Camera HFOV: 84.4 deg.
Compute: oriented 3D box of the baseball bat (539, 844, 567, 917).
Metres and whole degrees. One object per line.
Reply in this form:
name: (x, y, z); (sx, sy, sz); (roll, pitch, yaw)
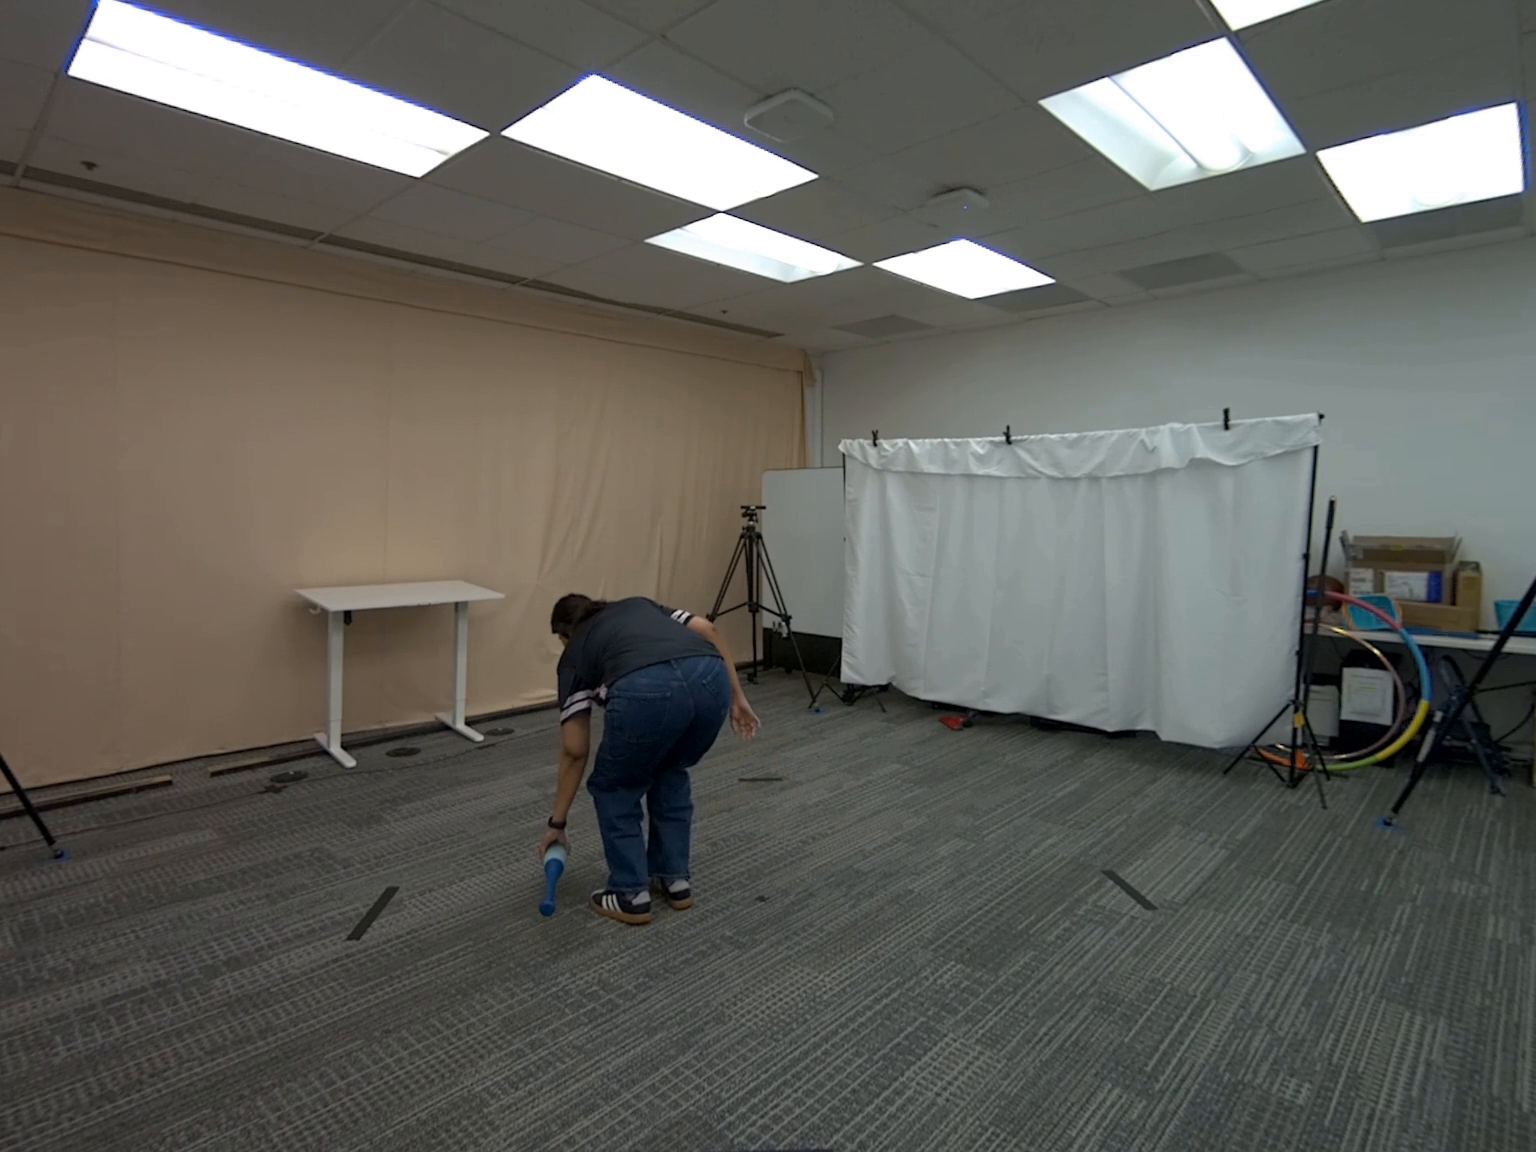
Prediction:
baseball bat: (-0.732, 1.014, 2.893); (0.088, 0.089, 0.550); (-1, 7, -10)
